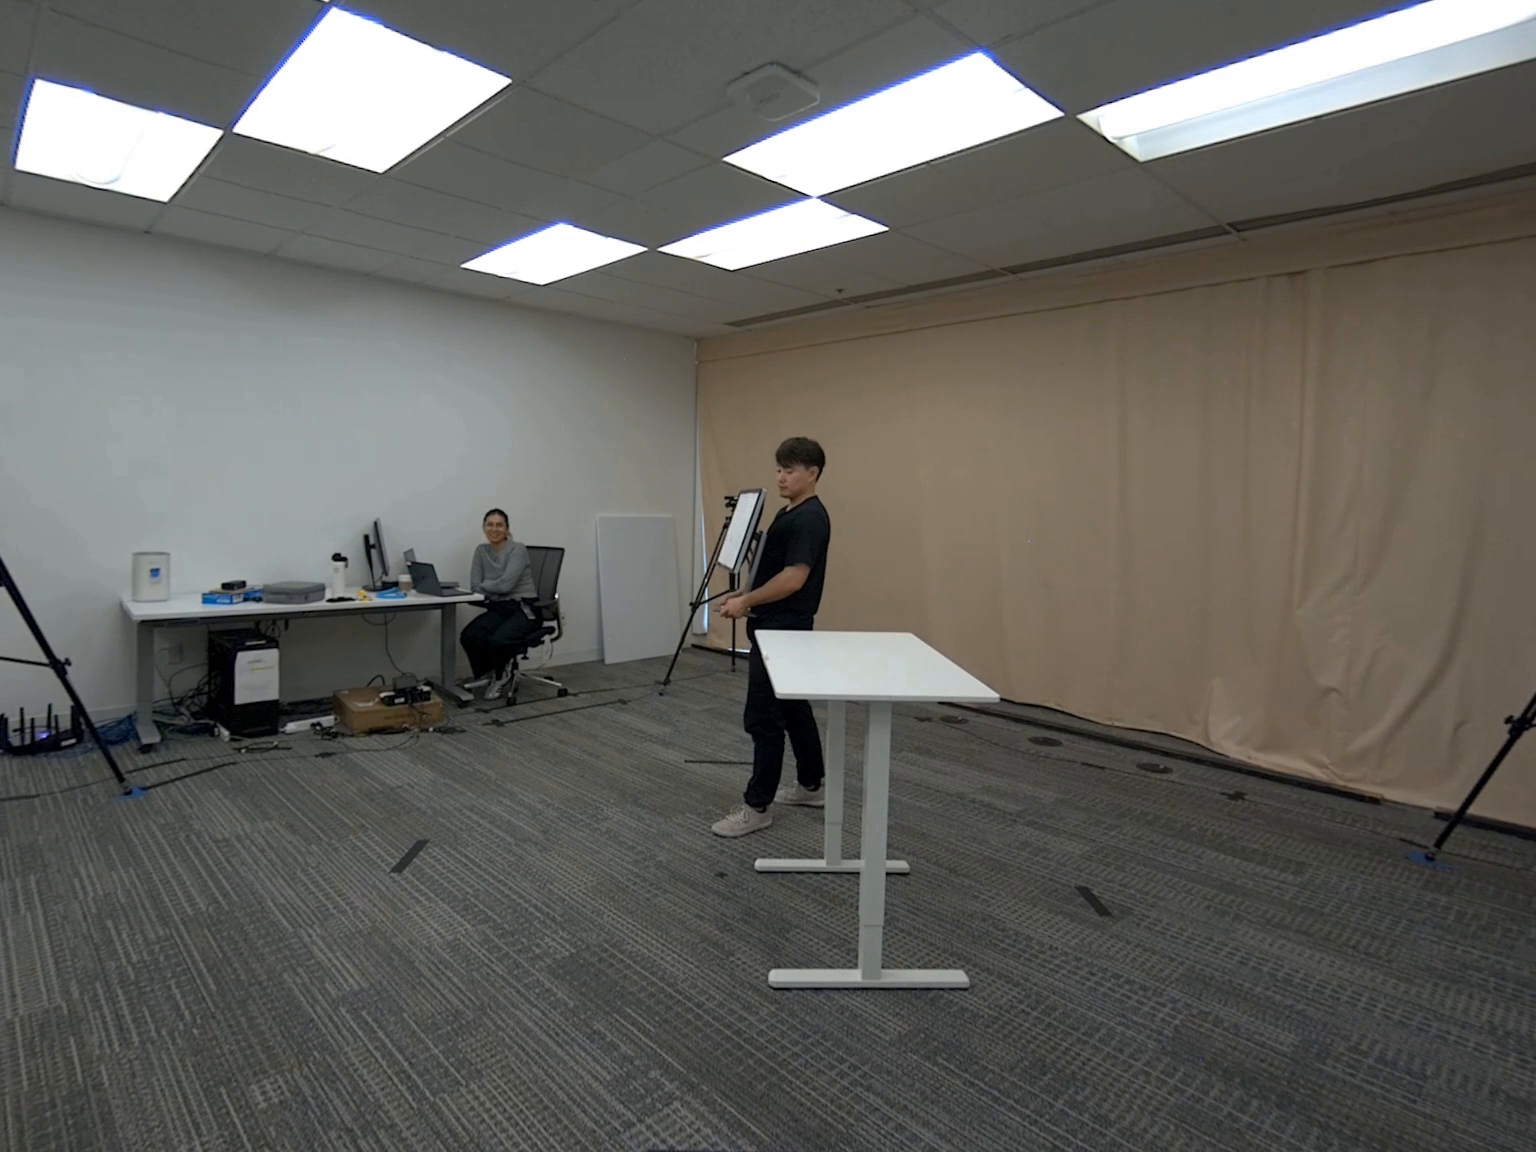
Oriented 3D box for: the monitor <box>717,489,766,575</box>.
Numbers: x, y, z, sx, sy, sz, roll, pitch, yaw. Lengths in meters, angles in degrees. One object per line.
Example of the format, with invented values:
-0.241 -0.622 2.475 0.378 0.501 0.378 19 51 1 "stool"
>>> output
-0.110 -0.106 3.655 0.185 0.522 0.545 8 2 -14 "monitor"
